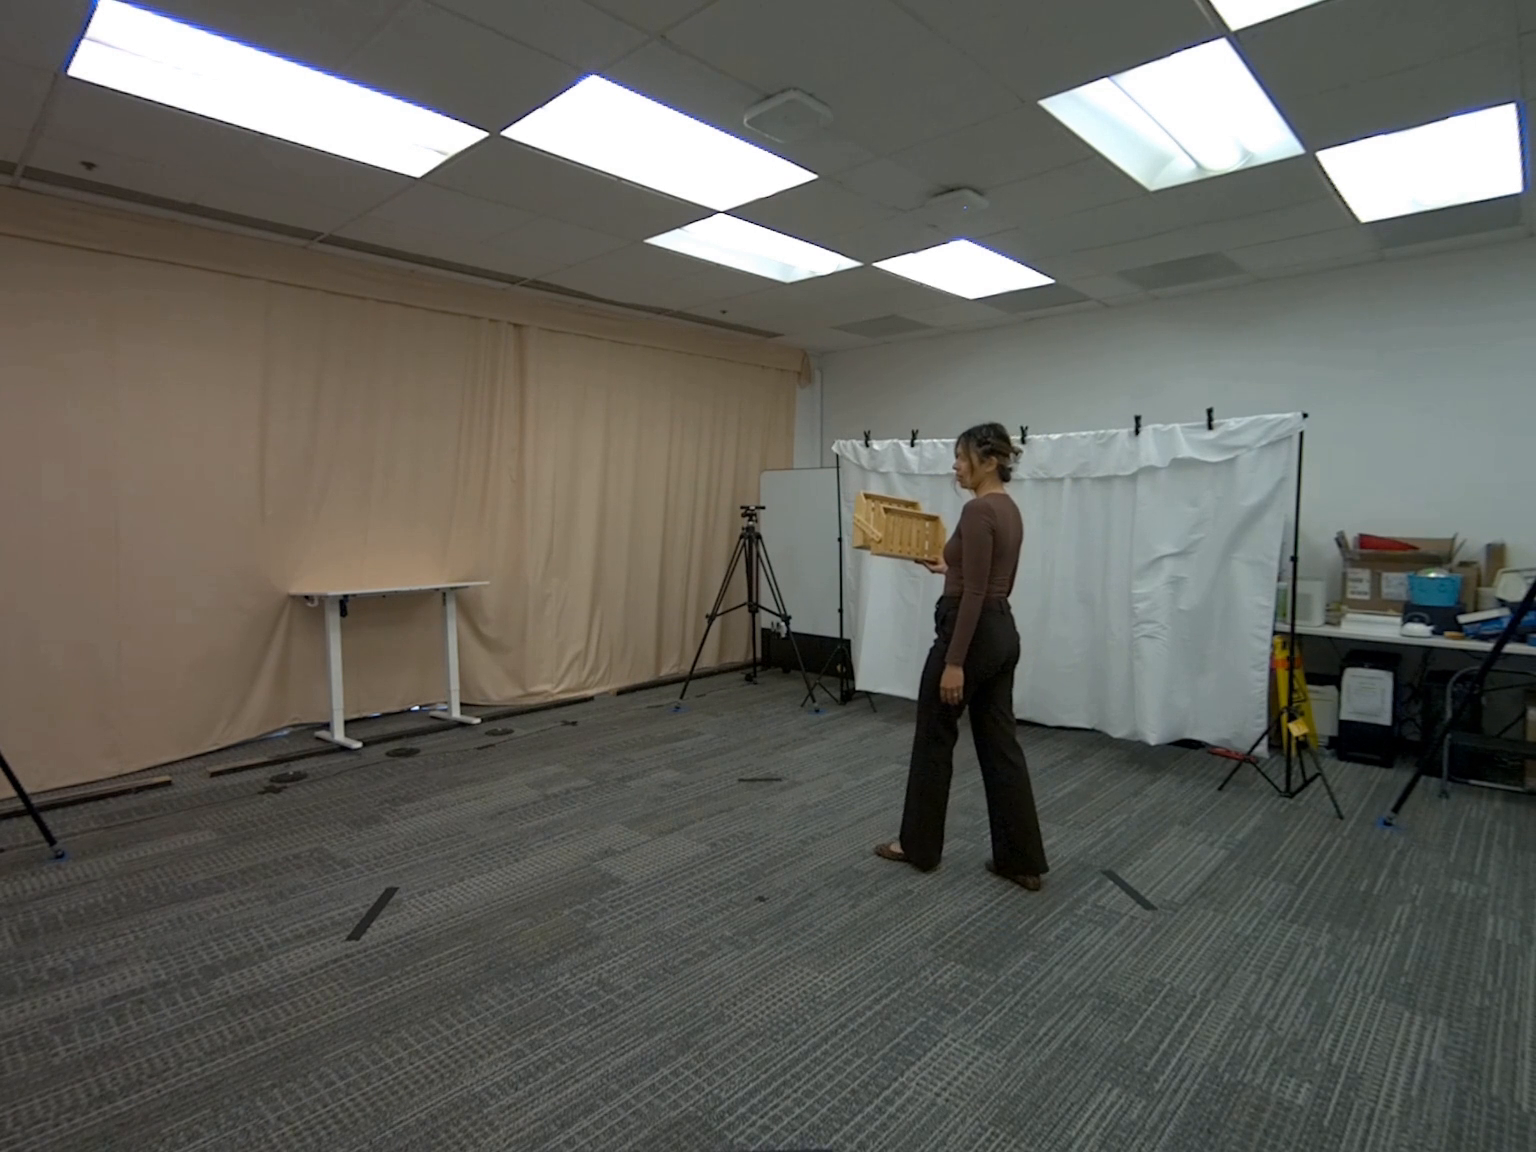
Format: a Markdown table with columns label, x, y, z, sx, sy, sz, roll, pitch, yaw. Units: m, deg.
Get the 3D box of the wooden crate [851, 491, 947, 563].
| label | x | y | z | sx | sy | sz | roll | pitch | yaw |
| --- | --- | --- | --- | --- | --- | --- | --- | --- | --- |
| wooden crate | 0.570 | -0.216 | 3.613 | 0.317 | 0.303 | 0.278 | 8 | -8 | -21 |
